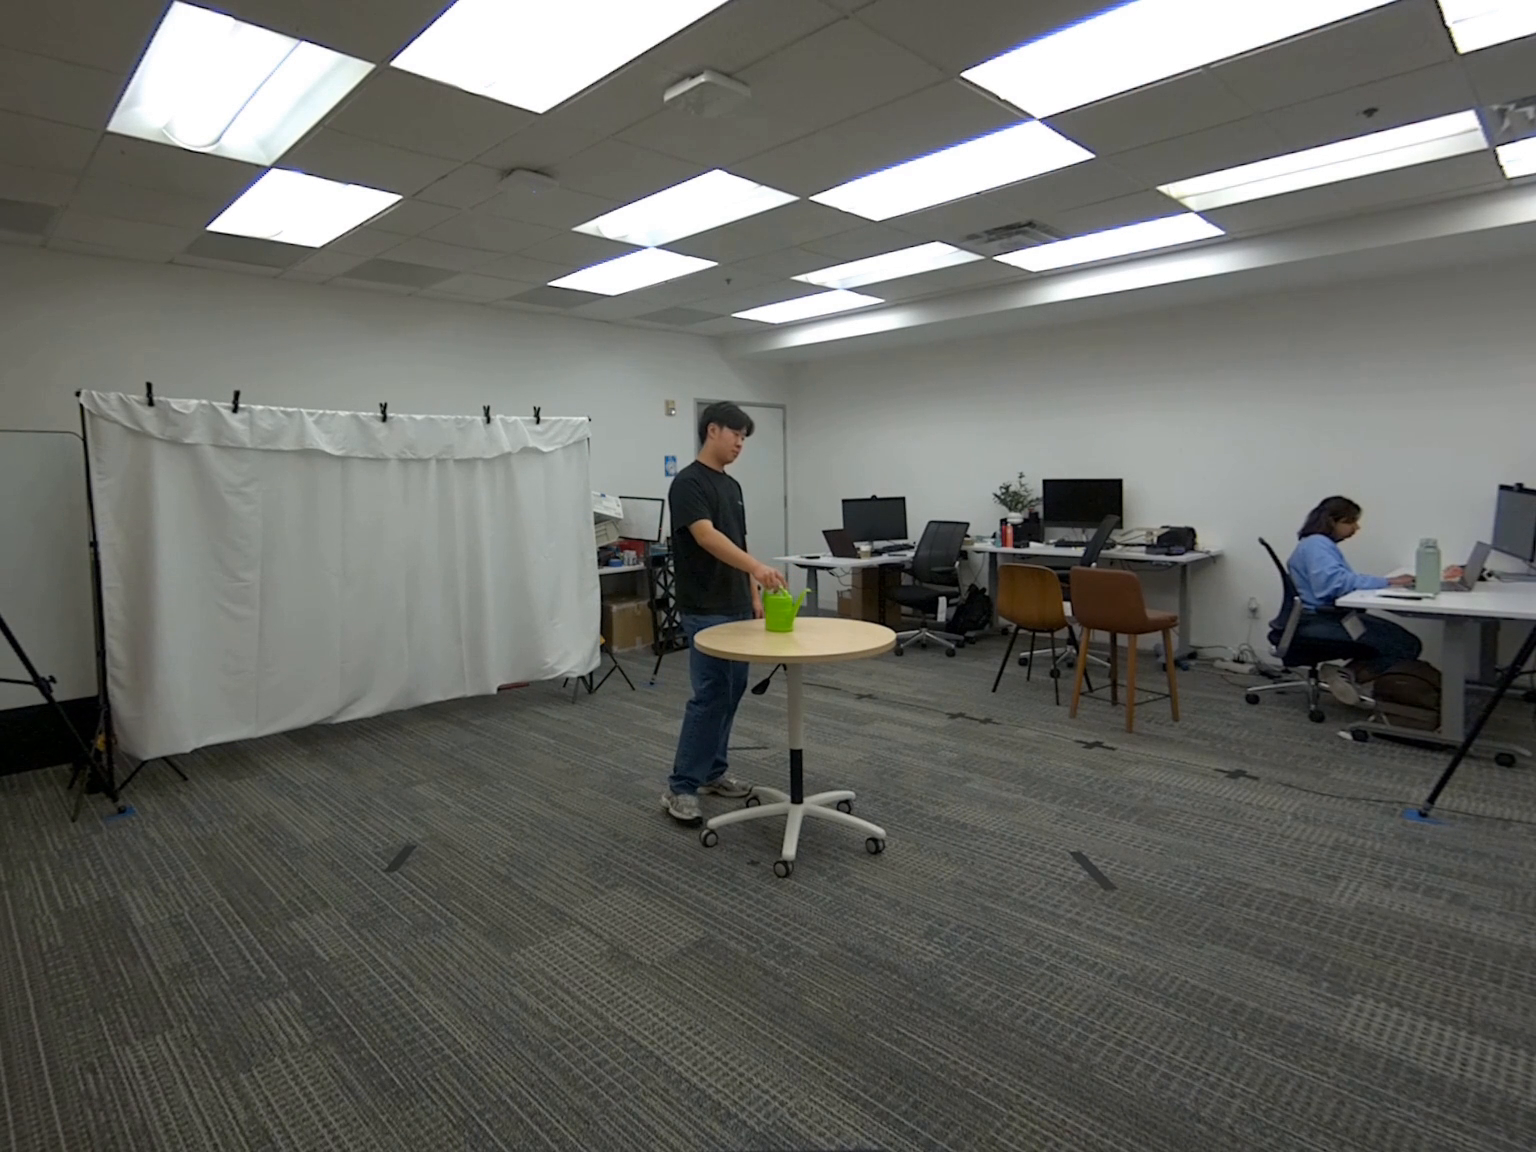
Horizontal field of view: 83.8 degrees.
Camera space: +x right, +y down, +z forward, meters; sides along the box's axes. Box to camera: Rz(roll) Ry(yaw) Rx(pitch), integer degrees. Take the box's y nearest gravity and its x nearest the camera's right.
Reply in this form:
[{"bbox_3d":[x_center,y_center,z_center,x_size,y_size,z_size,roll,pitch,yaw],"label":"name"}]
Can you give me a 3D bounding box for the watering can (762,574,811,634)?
[{"bbox_3d":[0.062,0.130,3.322,0.096,0.176,0.284,-6,5,-23],"label":"watering can"}]
